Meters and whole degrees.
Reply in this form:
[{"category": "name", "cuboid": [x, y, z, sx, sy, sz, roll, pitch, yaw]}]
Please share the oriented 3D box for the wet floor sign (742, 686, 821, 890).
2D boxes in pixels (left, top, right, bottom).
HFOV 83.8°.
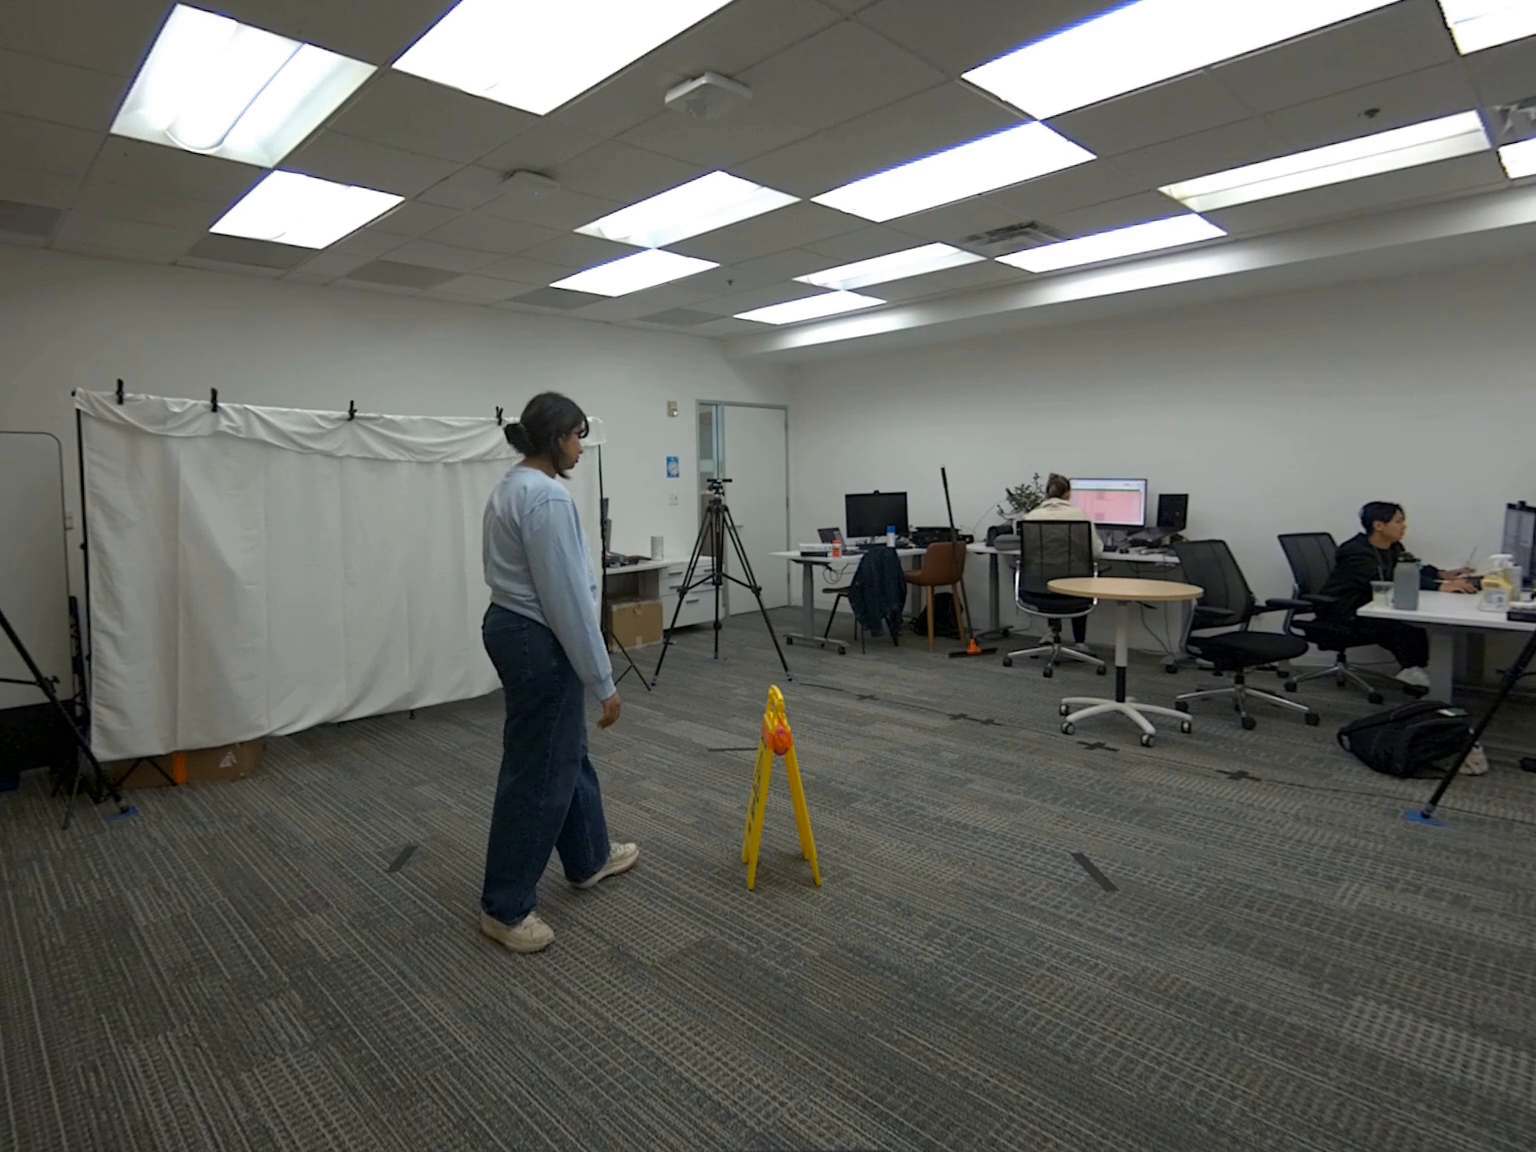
[{"category": "wet floor sign", "cuboid": [0.042, 0.730, 3.019, 0.288, 0.644, 0.284, -1, 4, -5]}]
